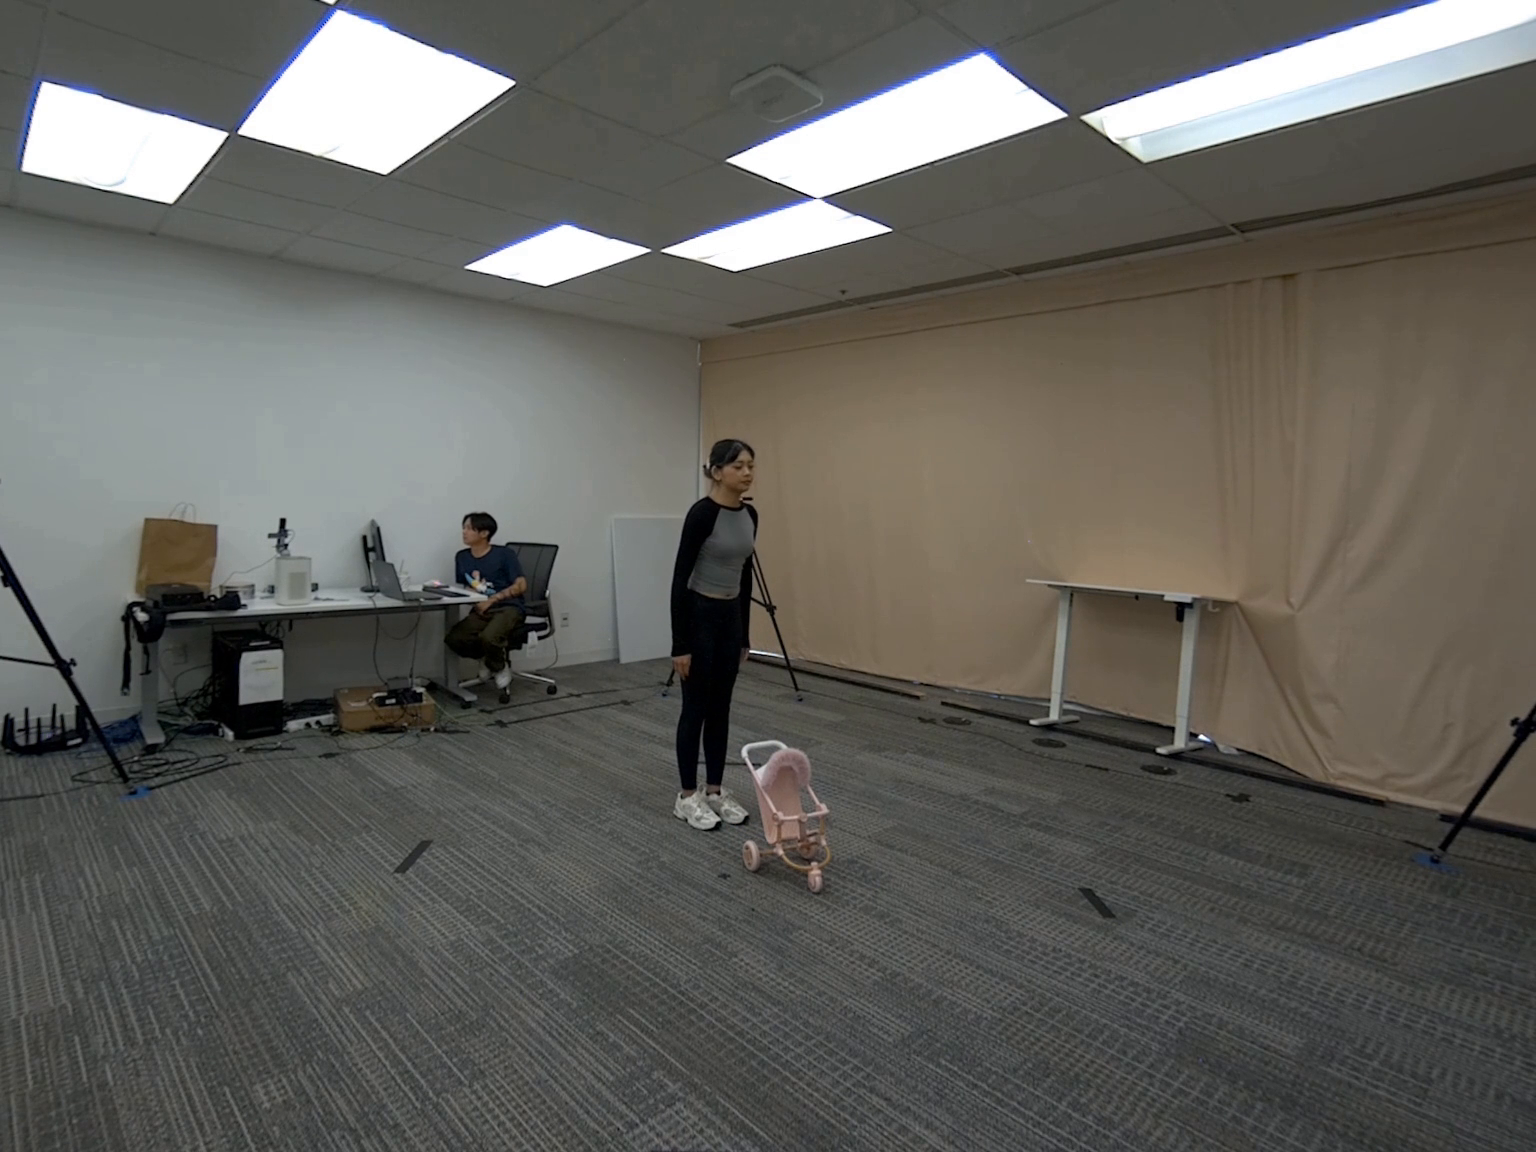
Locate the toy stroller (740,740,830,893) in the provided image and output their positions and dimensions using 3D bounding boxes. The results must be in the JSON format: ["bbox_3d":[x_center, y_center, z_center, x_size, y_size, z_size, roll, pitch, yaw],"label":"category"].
[{"bbox_3d":[0.072,0.884,3.152,0.276,0.540,0.344,0,-14,-25],"label":"toy stroller"}]
